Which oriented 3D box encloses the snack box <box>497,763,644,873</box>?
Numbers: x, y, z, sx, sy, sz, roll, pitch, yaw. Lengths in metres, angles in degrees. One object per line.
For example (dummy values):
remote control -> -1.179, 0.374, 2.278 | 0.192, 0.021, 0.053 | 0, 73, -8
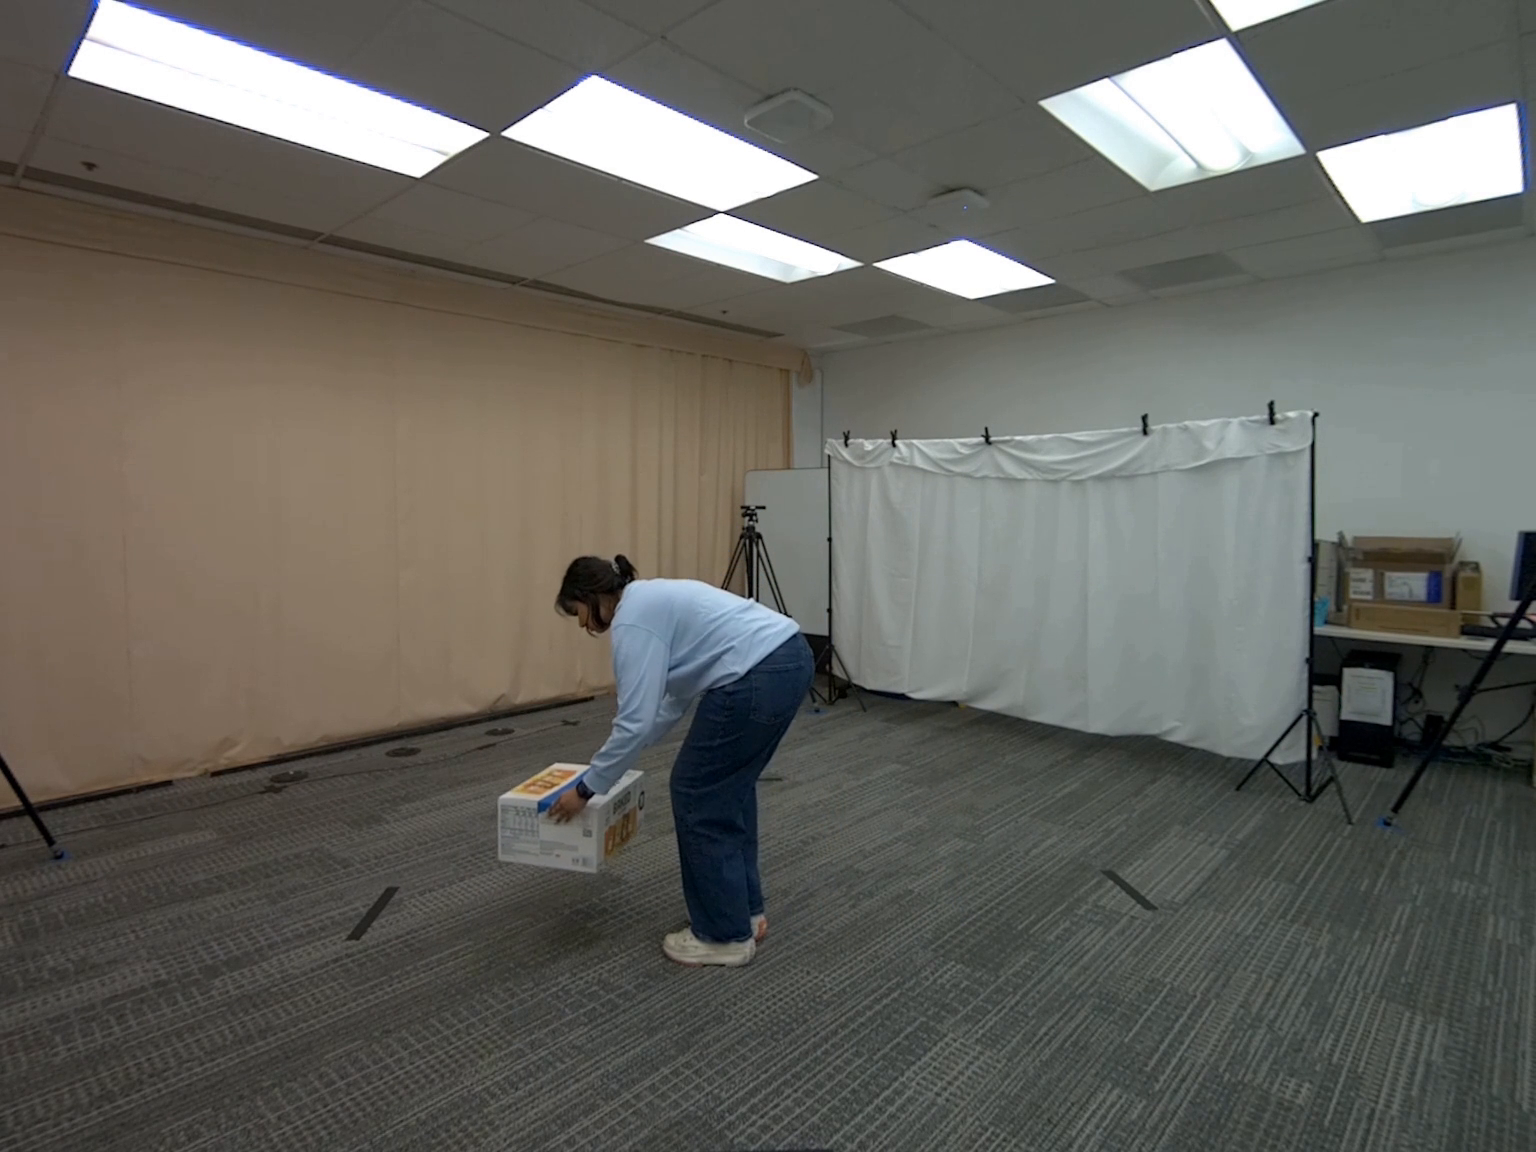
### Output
snack box -> -0.637, 0.787, 2.774 | 0.346, 0.205, 0.399 | 1, 3, 14
